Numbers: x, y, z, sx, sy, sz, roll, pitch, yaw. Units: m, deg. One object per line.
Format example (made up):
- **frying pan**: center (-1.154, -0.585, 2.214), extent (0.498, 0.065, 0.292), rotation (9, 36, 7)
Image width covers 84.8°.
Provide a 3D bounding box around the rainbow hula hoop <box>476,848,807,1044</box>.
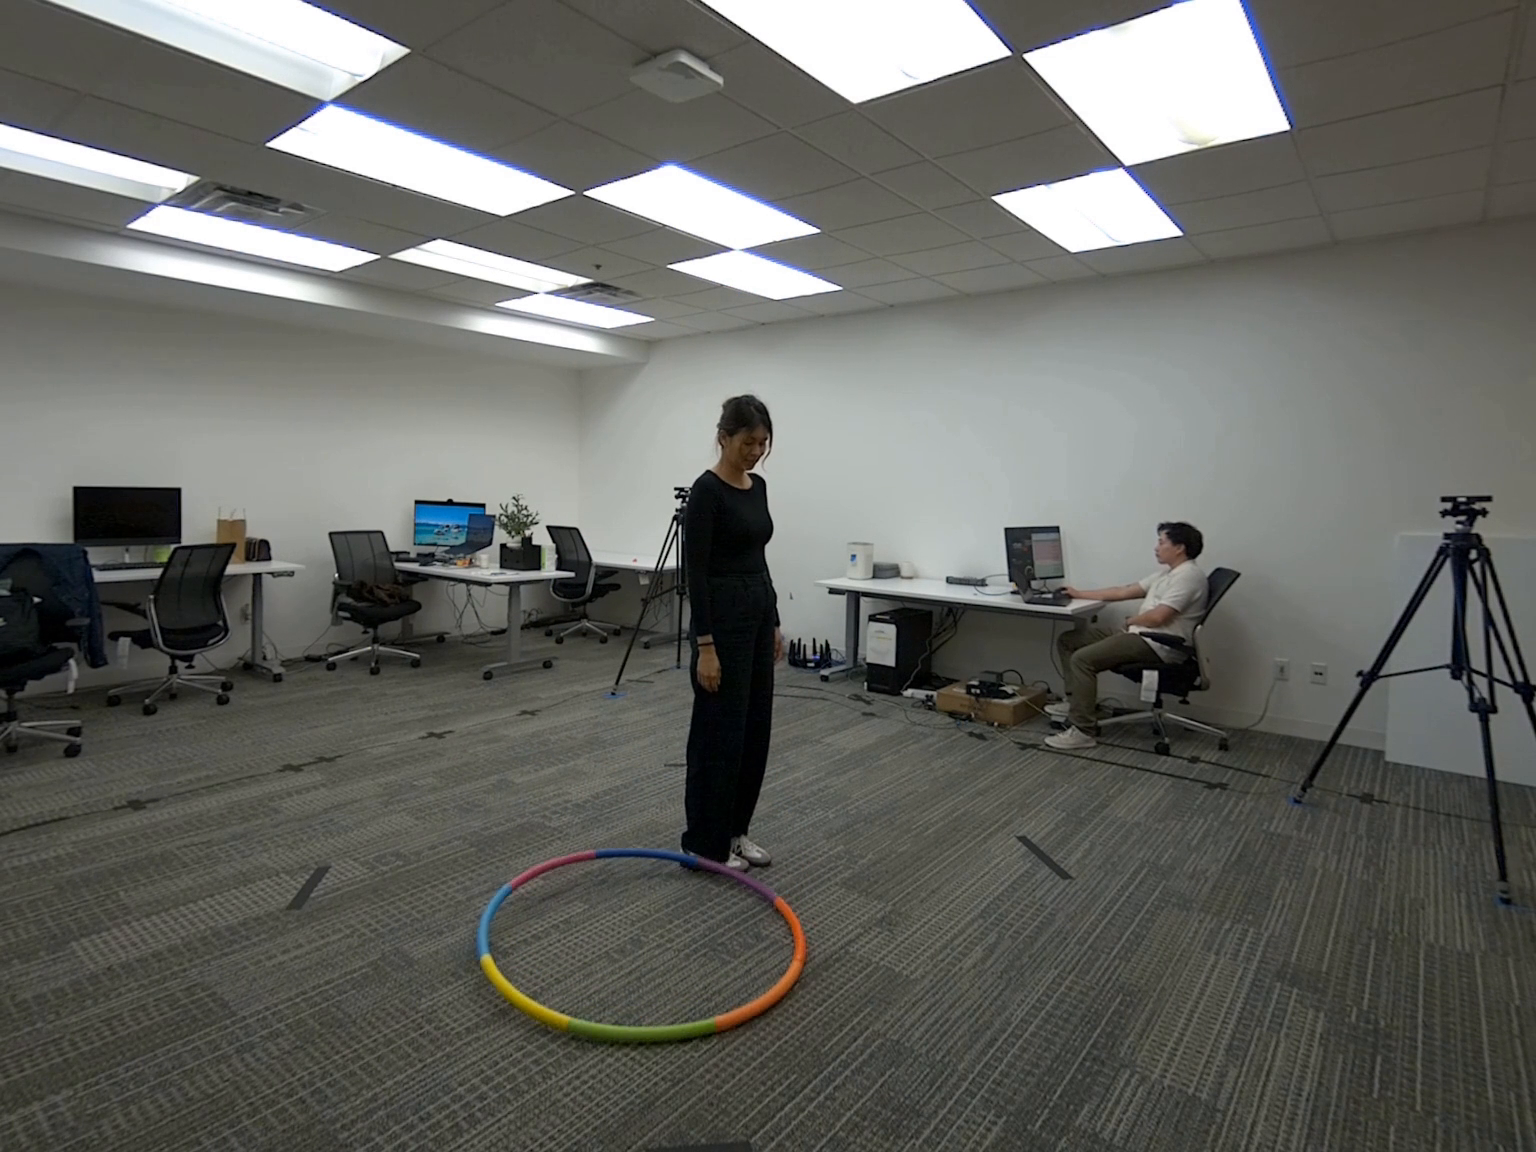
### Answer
- **rainbow hula hoop**: center (-0.384, 1.067, 2.597), extent (0.984, 0.051, 0.992), rotation (2, 7, -2)
